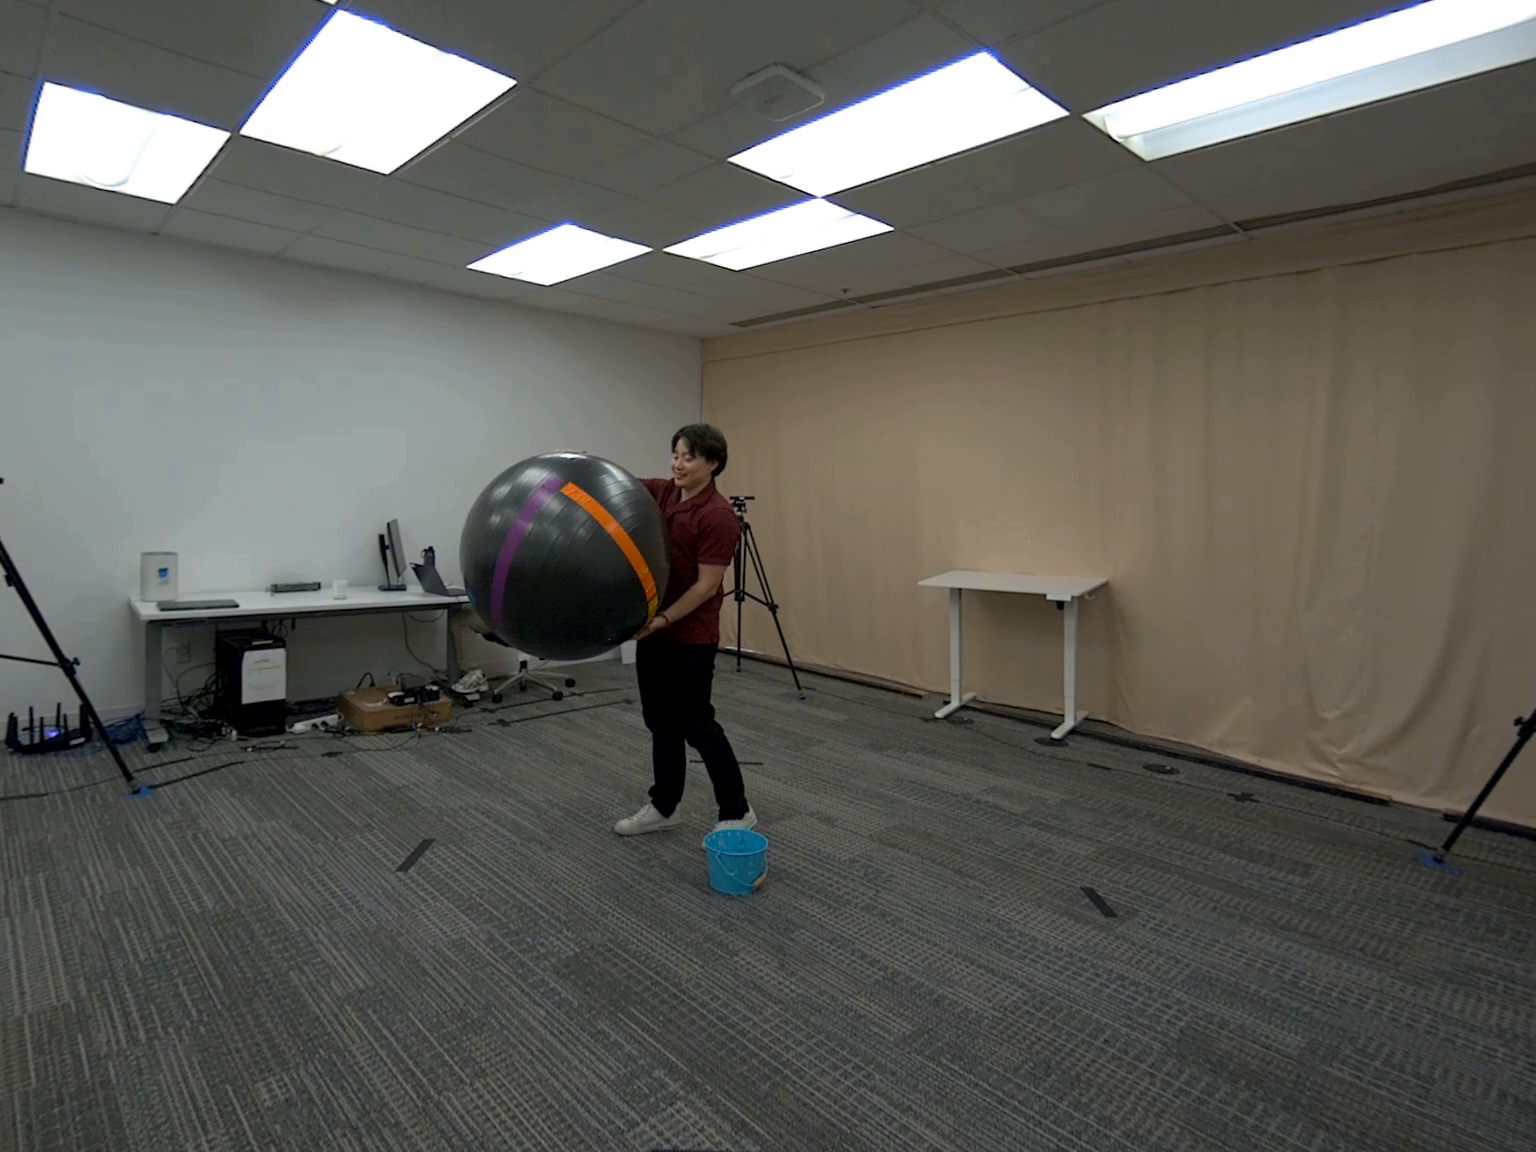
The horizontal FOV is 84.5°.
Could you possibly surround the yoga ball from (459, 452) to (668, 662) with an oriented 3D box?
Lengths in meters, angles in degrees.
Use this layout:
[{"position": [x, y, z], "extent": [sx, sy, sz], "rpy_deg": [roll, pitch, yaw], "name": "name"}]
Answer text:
[{"position": [-0.738, -0.070, 3.070], "extent": [0.757, 0.756, 0.761], "rpy_deg": [1, 4, -1], "name": "yoga ball"}]
